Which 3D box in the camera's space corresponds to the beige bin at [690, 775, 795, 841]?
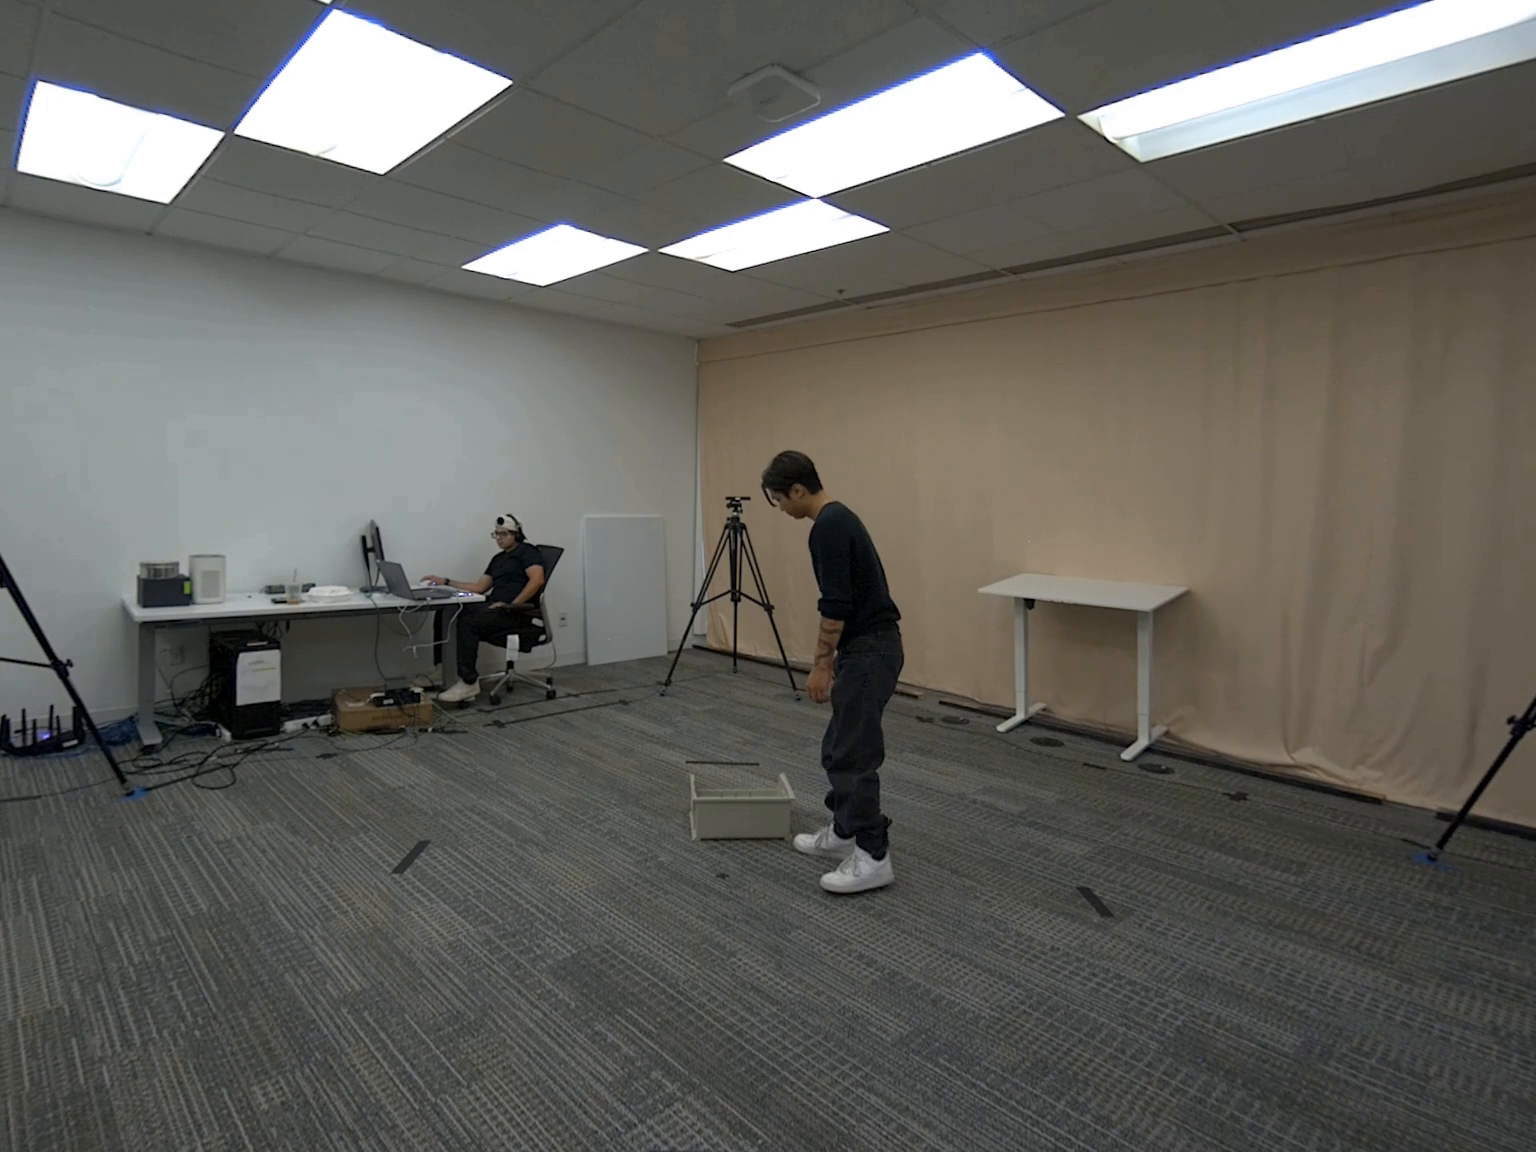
[{"bbox_3d":[-0.131,0.978,3.606,0.420,0.188,0.380,1,5,-6],"label":"beige bin"}]
